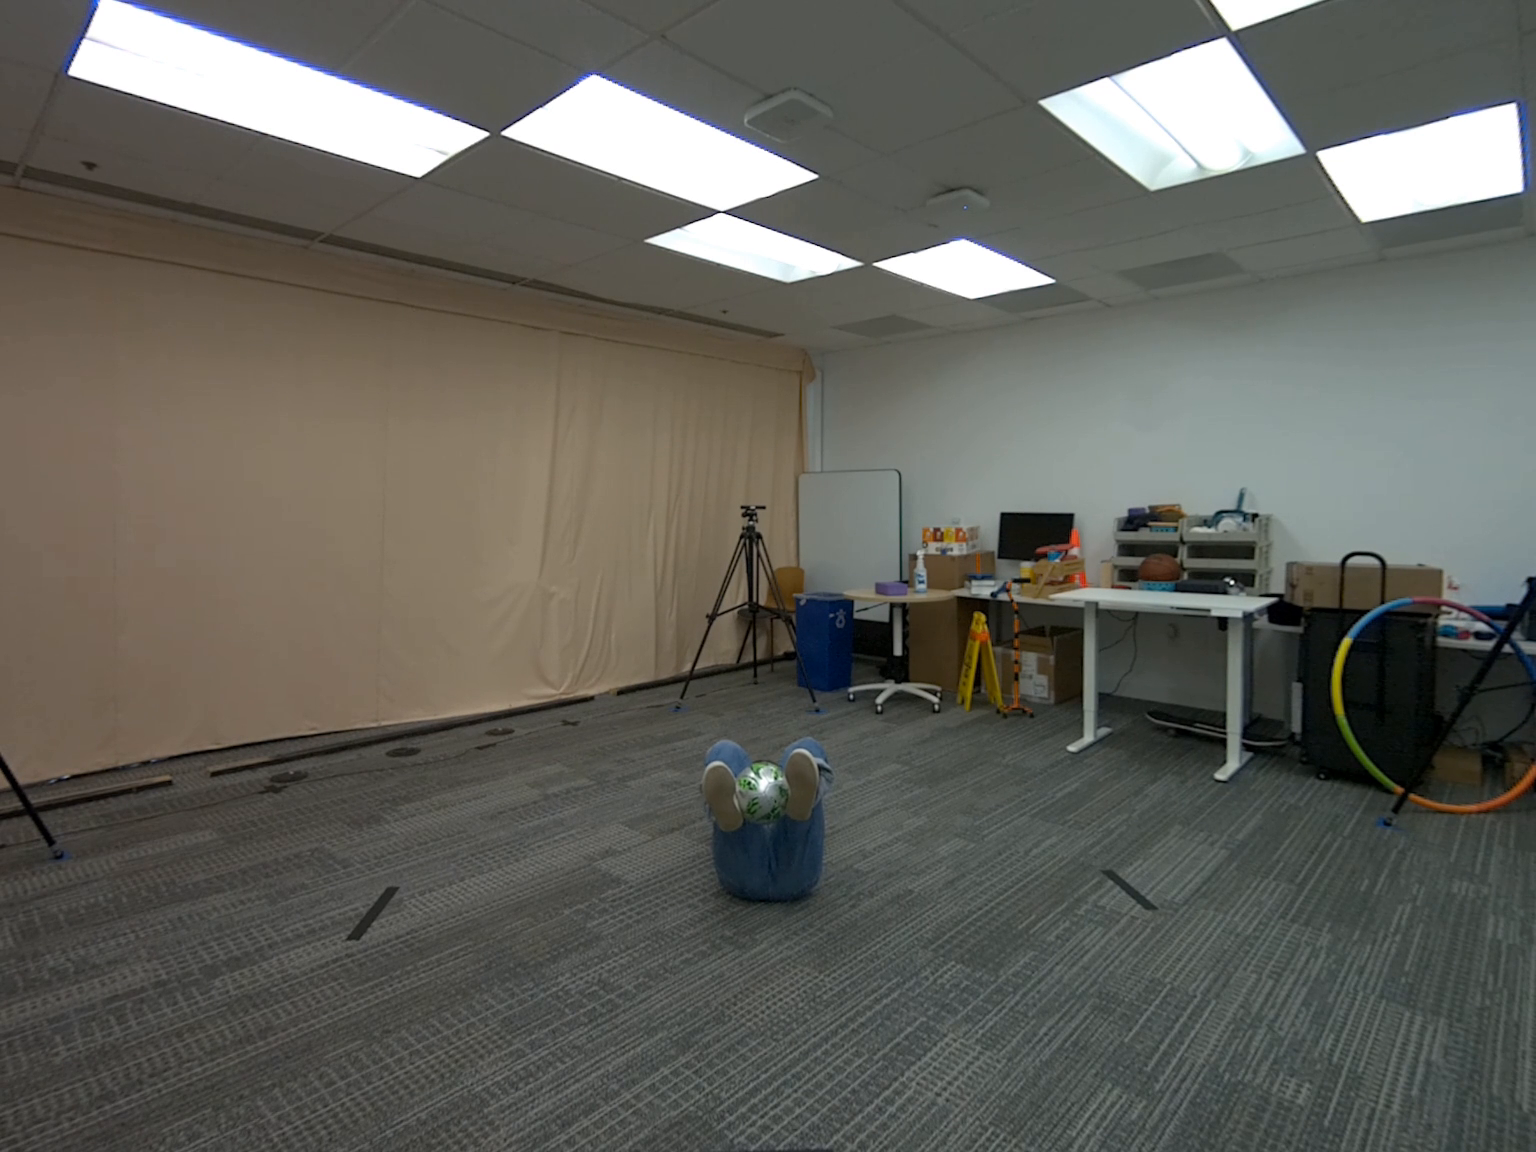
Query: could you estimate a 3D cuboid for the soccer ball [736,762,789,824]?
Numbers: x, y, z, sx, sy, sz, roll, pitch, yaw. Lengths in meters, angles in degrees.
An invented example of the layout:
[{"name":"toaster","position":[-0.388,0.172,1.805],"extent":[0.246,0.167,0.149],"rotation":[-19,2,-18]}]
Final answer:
[{"name":"soccer ball","position":[-0.003,0.682,2.622],"extent":[0.187,0.187,0.188],"rotation":[3,4,-2]}]
